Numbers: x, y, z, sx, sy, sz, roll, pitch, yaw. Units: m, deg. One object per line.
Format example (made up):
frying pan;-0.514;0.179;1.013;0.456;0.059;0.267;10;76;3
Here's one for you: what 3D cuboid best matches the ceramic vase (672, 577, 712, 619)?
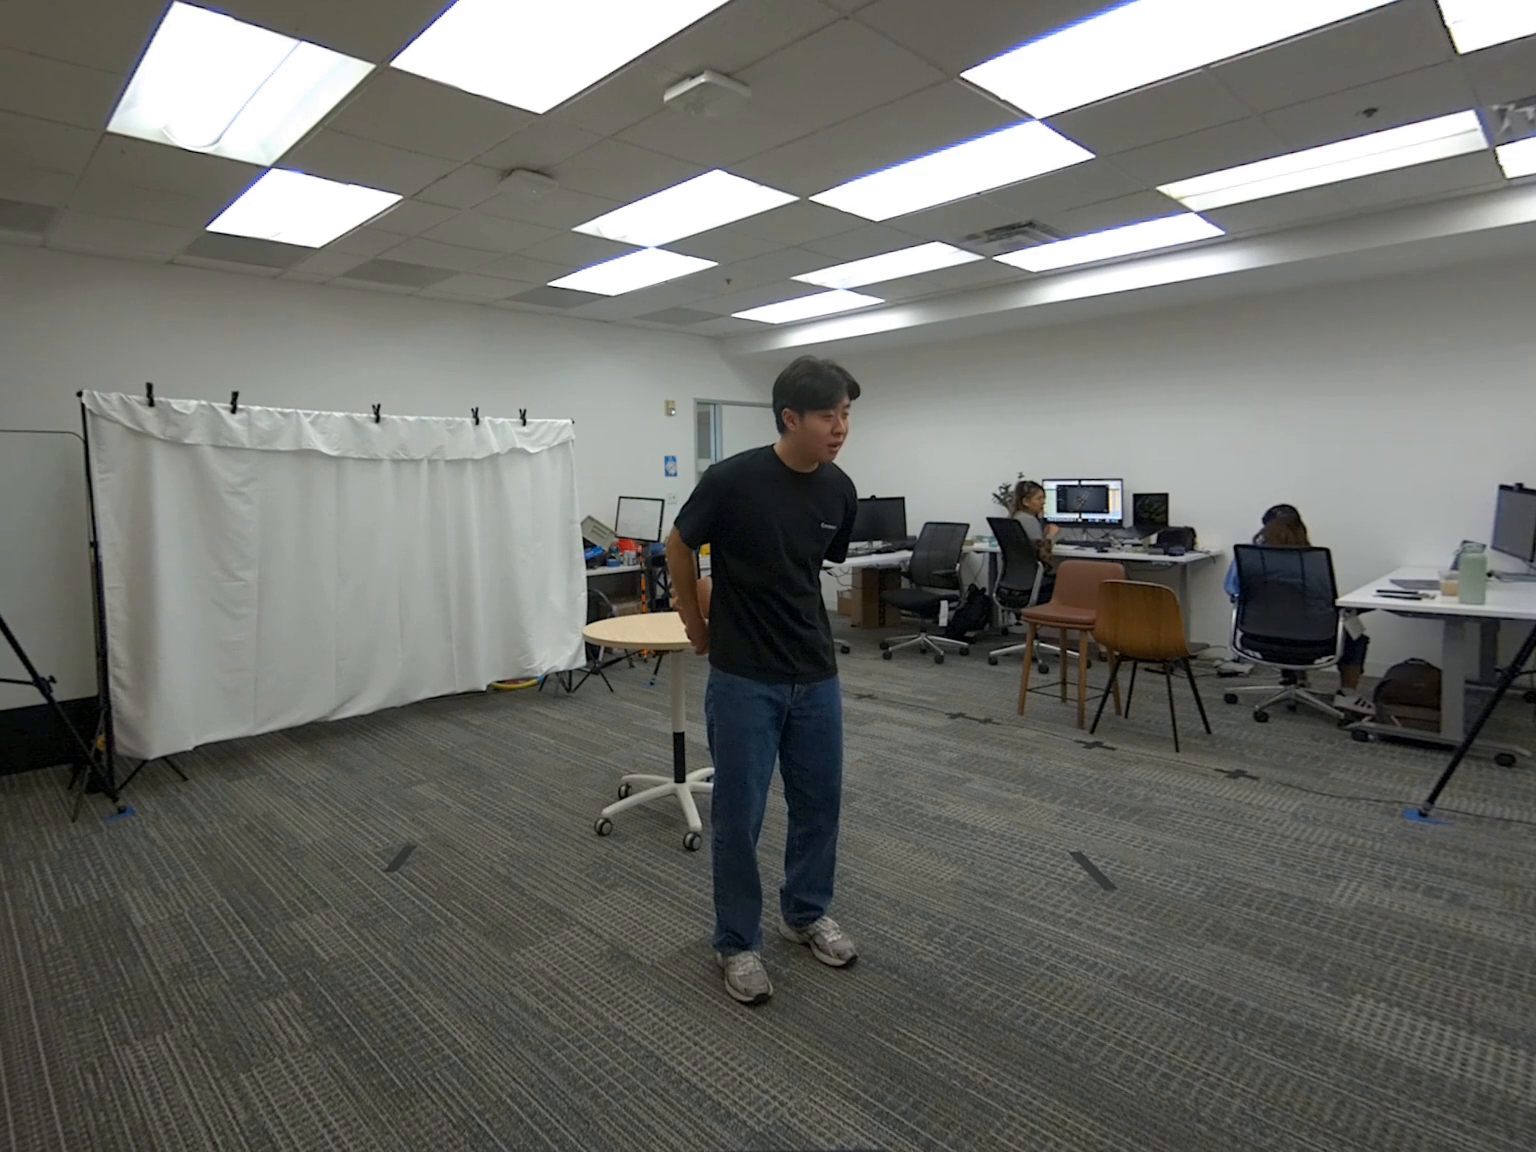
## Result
ceramic vase;-0.189;0.125;2.657;0.158;0.221;0.135;-20;-3;-10
